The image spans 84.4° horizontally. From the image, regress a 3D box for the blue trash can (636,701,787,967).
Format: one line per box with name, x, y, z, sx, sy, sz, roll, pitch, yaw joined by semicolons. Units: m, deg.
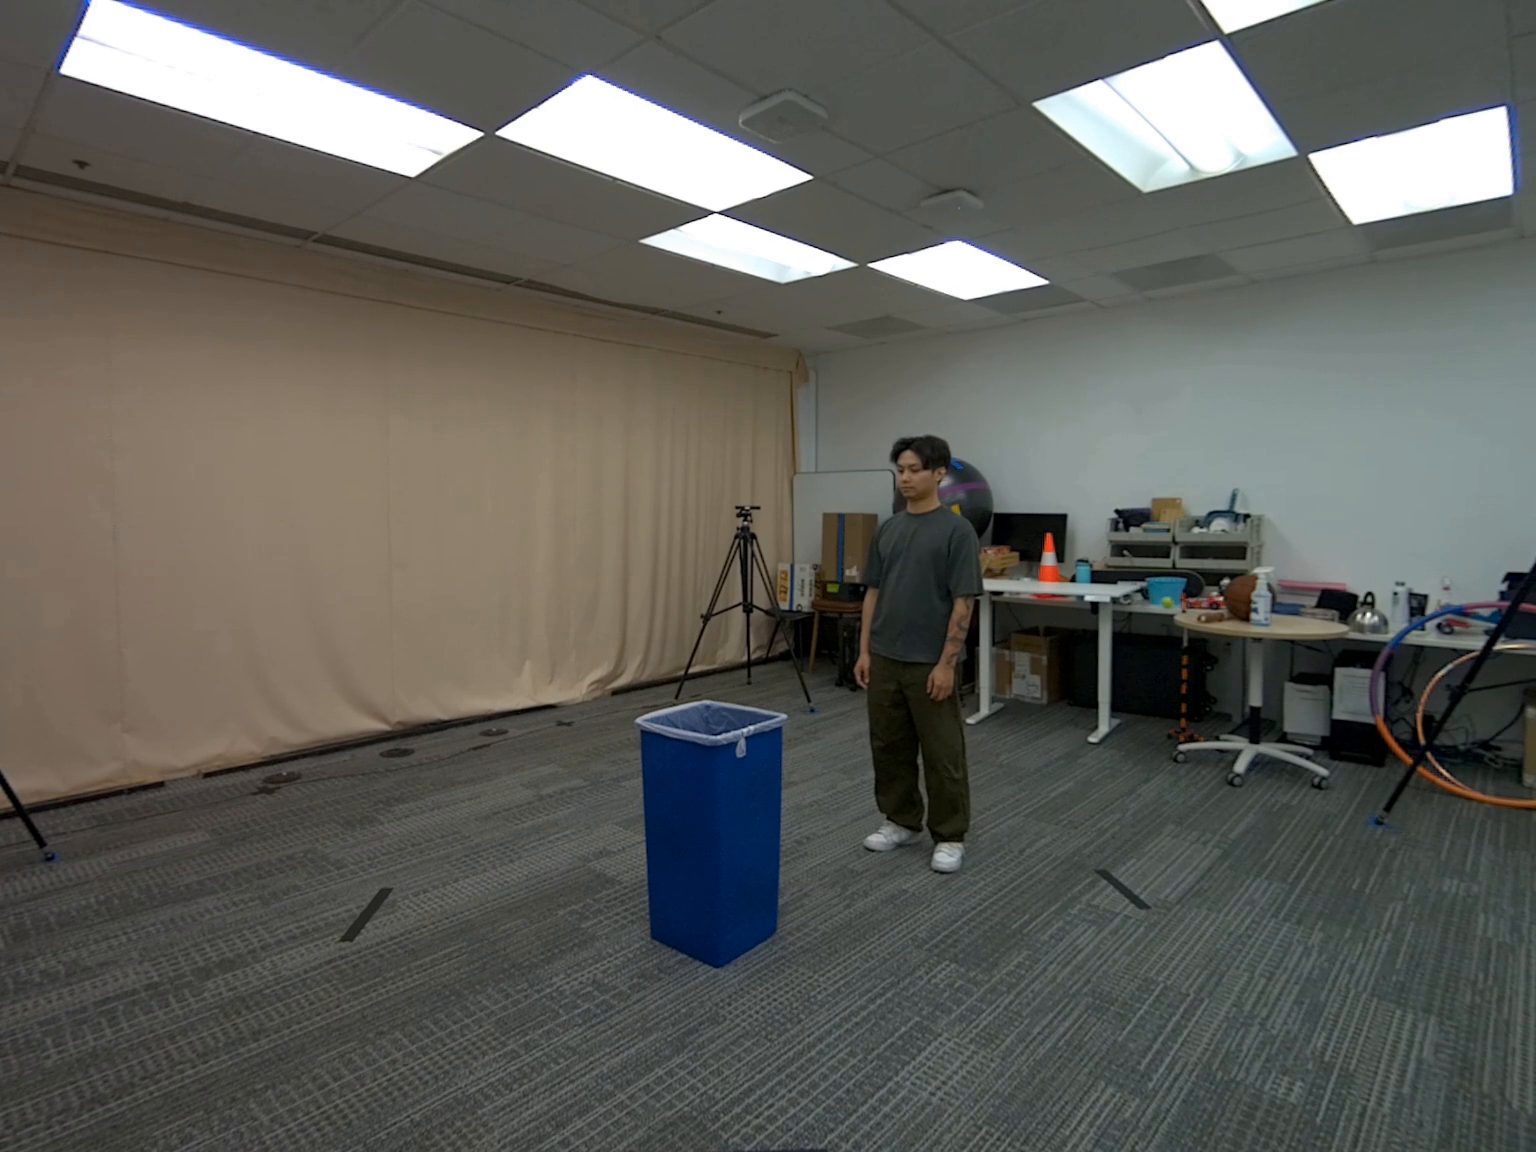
blue trash can;-0.177;0.810;2.713;0.390;0.712;0.363;2;3;38
